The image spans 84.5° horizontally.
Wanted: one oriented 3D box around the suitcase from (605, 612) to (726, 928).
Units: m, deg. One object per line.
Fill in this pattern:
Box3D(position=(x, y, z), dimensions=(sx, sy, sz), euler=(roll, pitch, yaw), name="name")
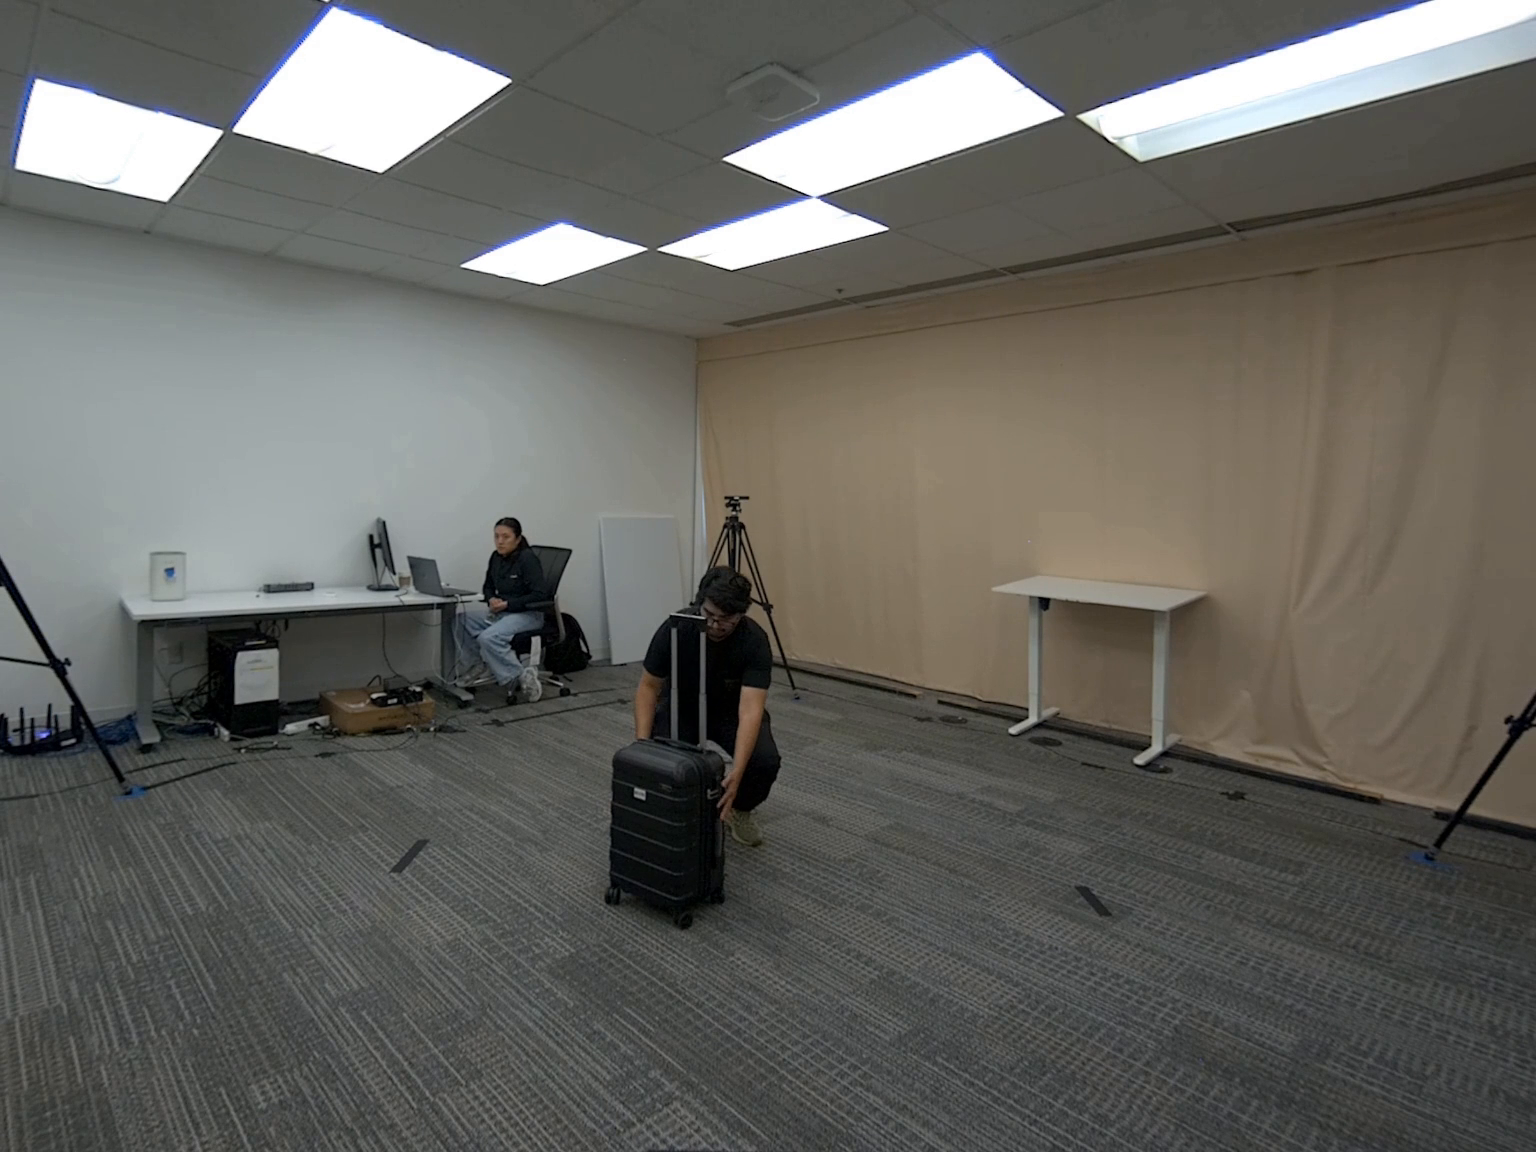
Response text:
Box3D(position=(-0.351, 0.649, 2.851), dimensions=(0.393, 0.975, 0.252), euler=(3, 5, 35), name="suitcase")
